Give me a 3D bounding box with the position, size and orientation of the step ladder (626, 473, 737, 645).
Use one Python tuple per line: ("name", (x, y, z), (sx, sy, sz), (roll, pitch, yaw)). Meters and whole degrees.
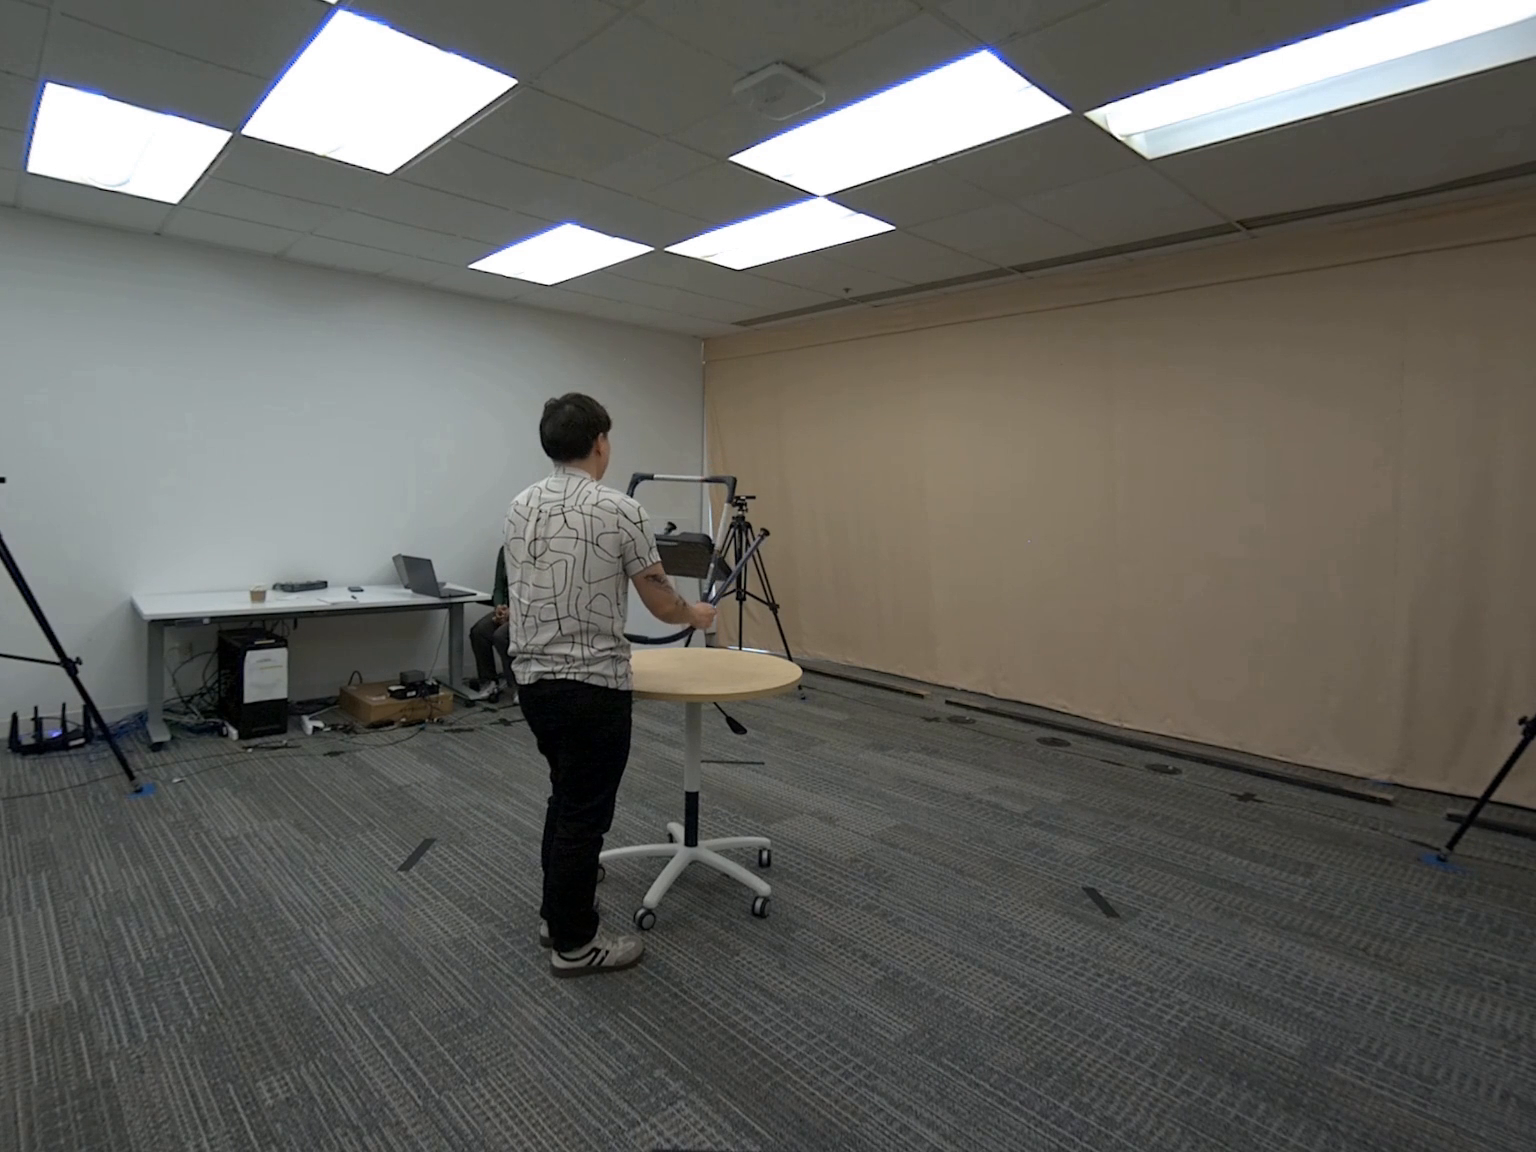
("step ladder", (-0.328, -0.009, 2.868), (0.439, 0.612, 0.338), (4, -33, 27))
